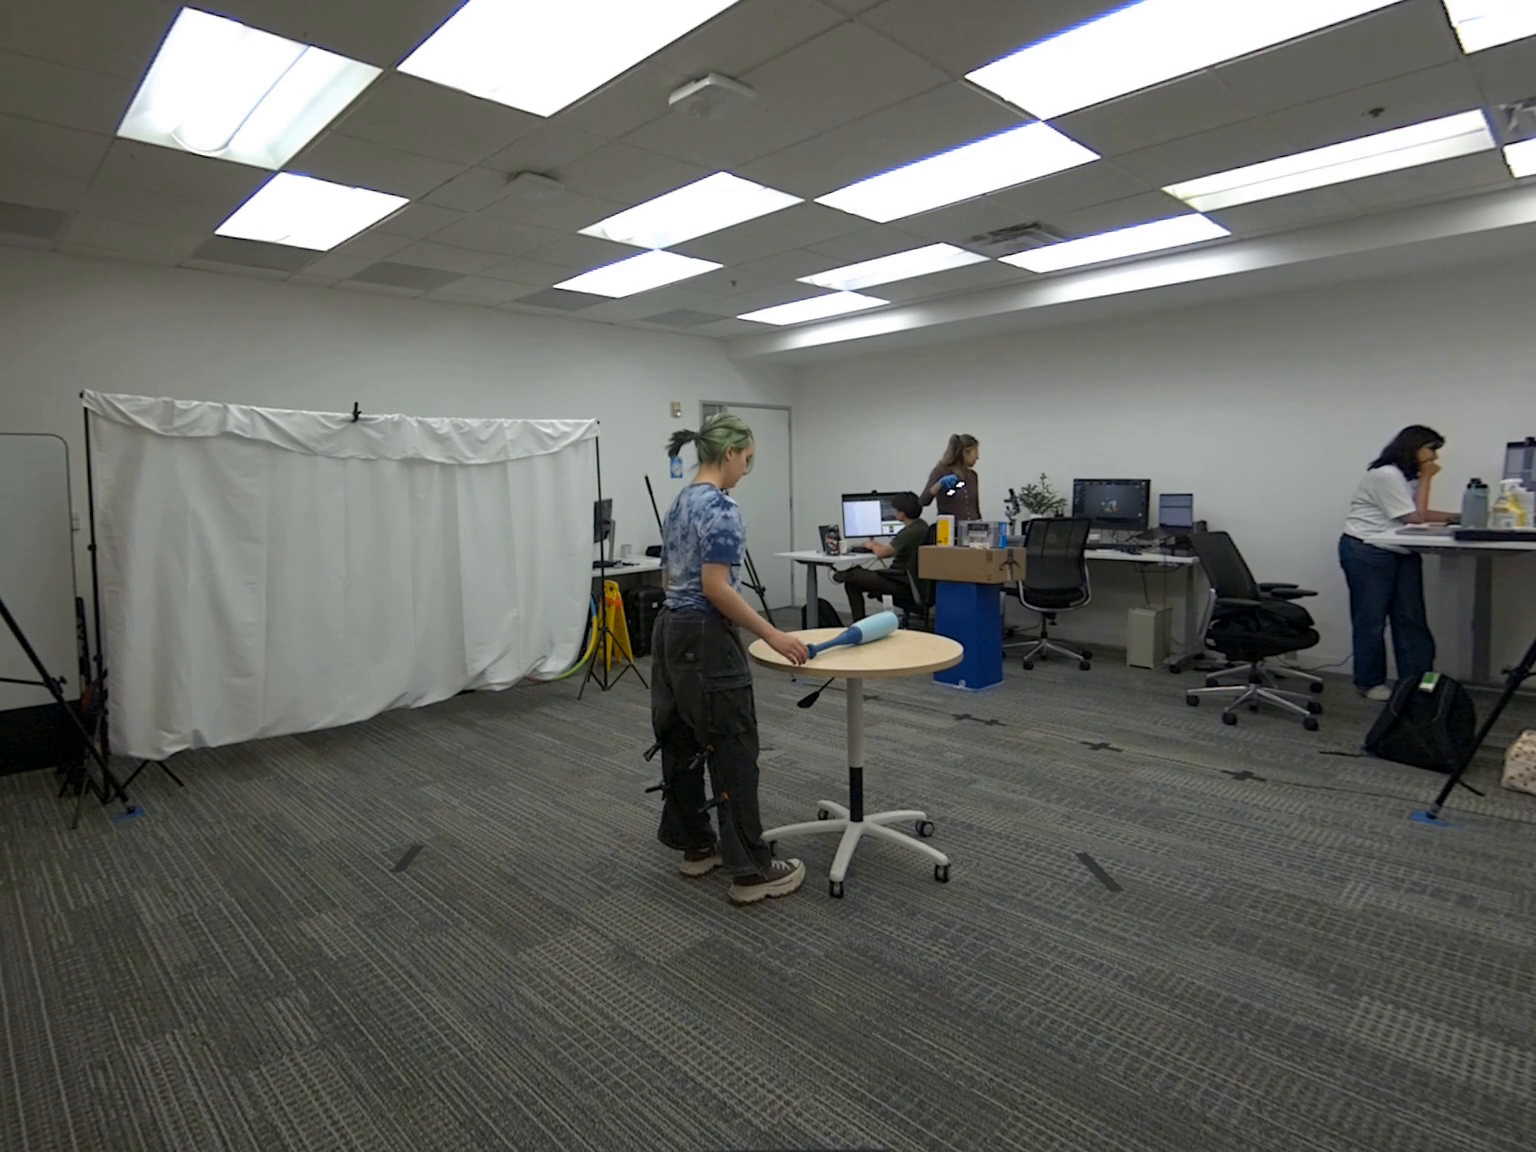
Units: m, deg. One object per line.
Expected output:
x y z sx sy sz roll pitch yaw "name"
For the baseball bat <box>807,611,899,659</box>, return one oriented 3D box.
0.304 0.224 3.093 0.092 0.088 0.531 3 11 39 "baseball bat"
